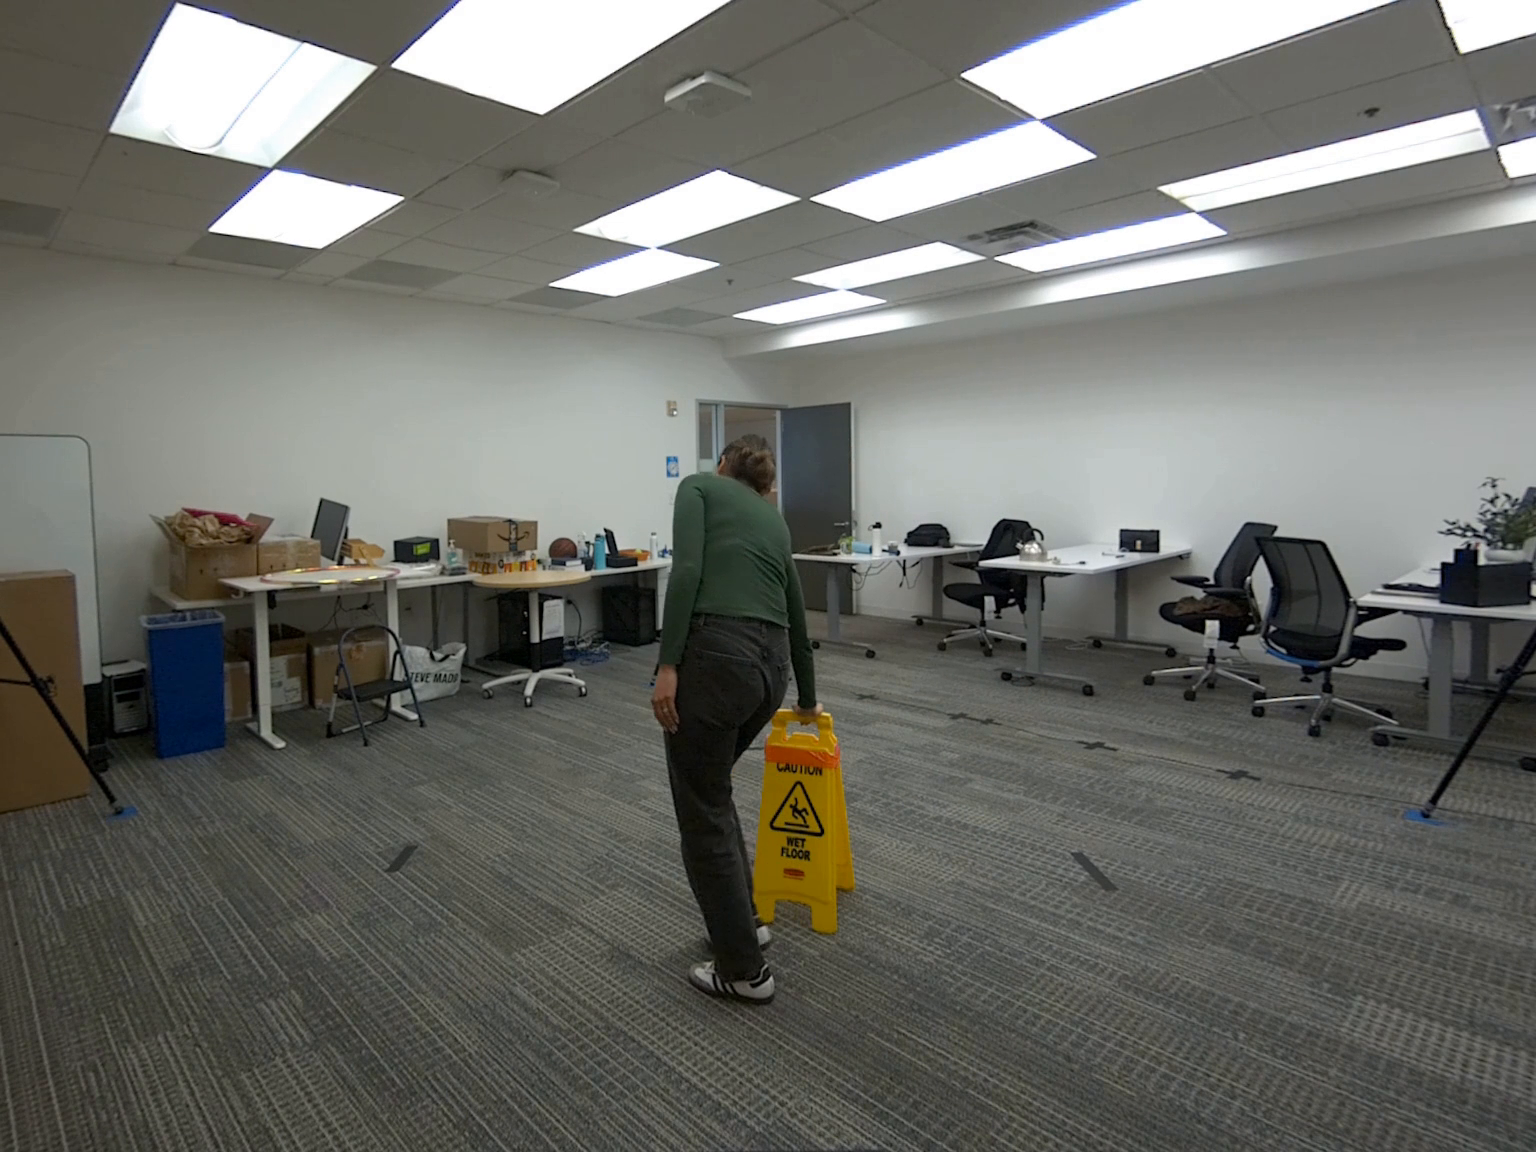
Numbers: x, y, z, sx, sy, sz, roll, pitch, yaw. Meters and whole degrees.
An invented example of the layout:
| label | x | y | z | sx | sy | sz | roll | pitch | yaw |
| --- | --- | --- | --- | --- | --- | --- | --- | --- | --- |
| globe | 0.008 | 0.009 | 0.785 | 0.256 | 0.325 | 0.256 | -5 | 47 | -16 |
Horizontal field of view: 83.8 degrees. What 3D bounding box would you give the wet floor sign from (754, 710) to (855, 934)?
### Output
| label | x | y | z | sx | sy | sz | roll | pitch | yaw |
| --- | --- | --- | --- | --- | --- | --- | --- | --- | --- |
| wet floor sign | 0.120 | 0.756 | 2.784 | 0.288 | 0.644 | 0.285 | 2 | 4 | 19 |
